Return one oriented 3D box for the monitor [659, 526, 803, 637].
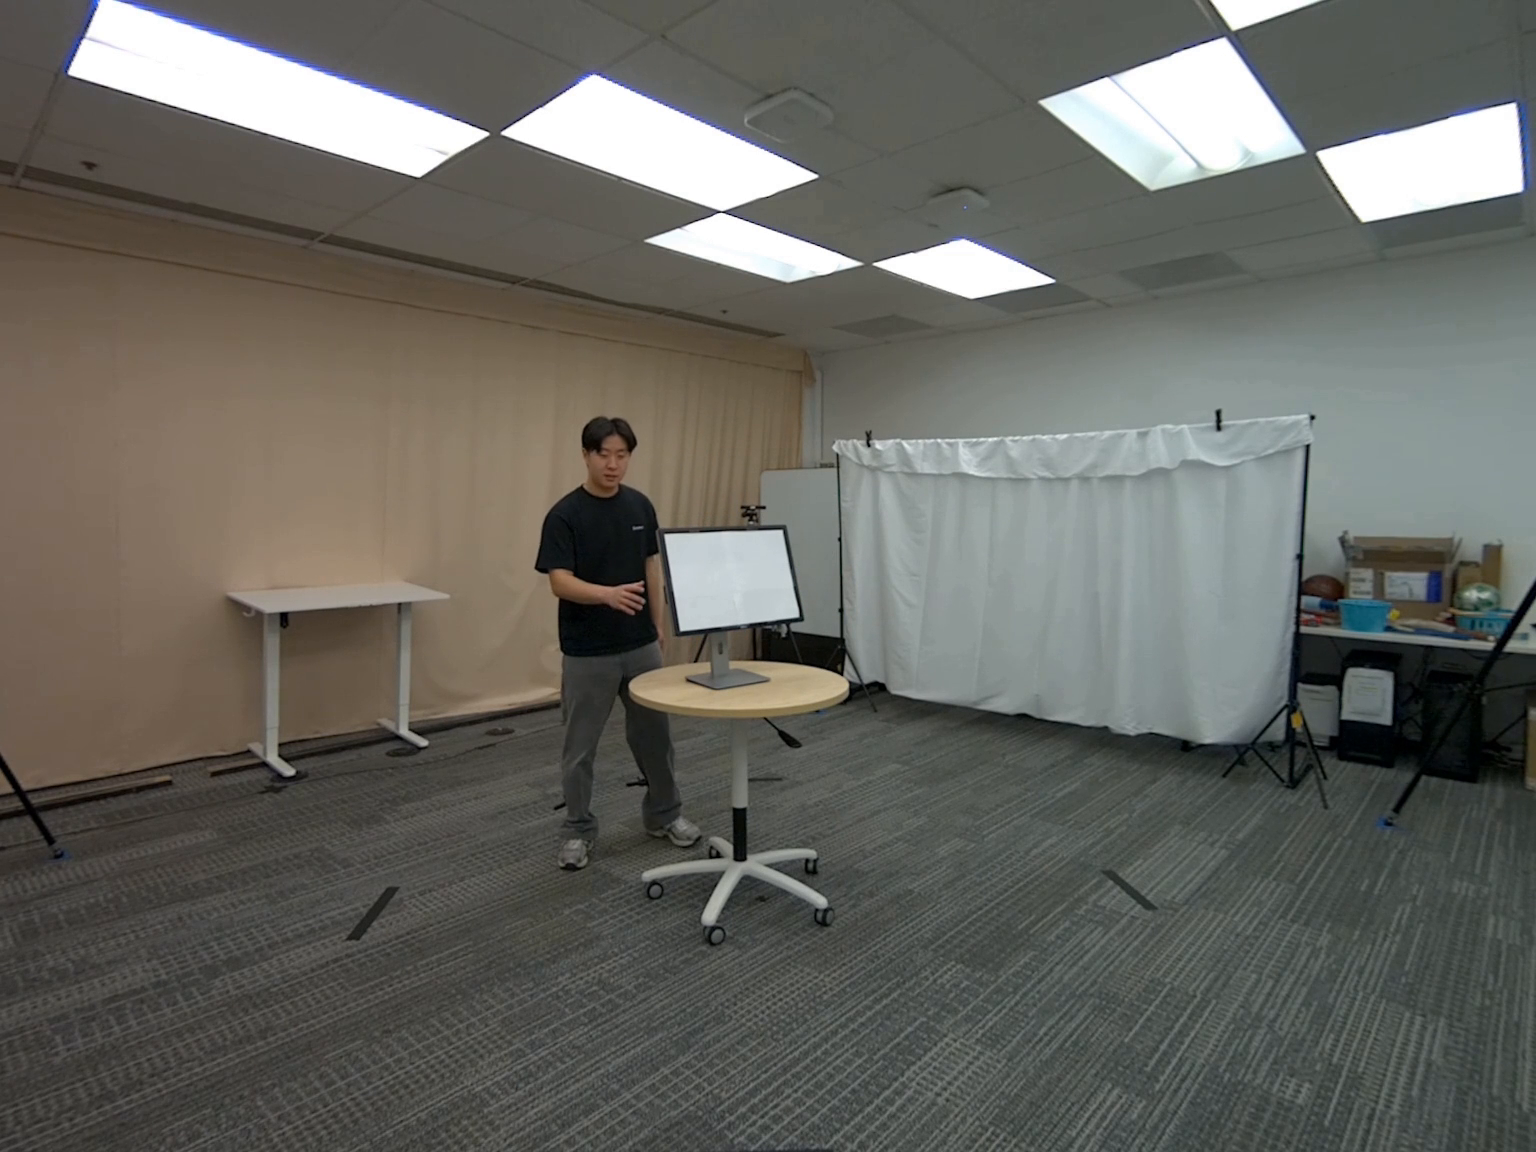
[{"bbox_3d":[-0.137,0.110,2.953,0.546,0.564,0.229,-4,6,-35],"label":"monitor"}]
